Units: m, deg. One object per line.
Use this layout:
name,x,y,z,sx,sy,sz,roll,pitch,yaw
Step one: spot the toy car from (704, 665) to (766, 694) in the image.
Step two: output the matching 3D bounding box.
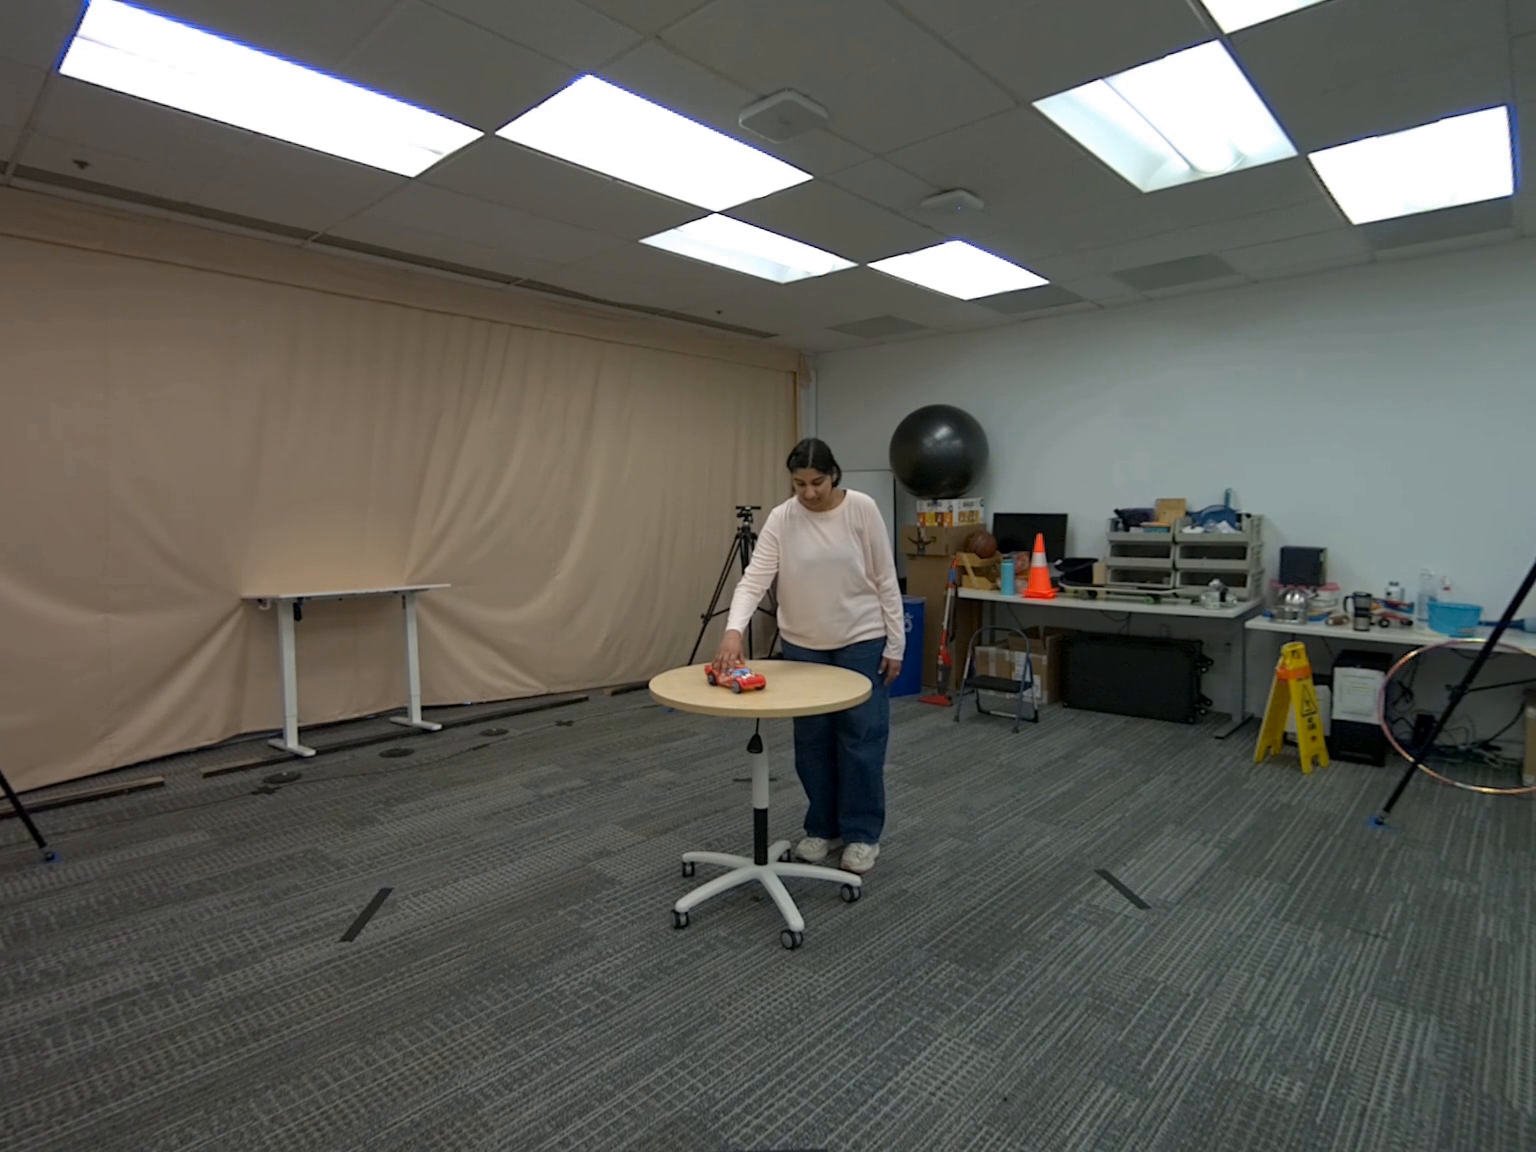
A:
toy car,-0.115,0.343,2.850,0.126,0.082,0.264,-4,16,-35
